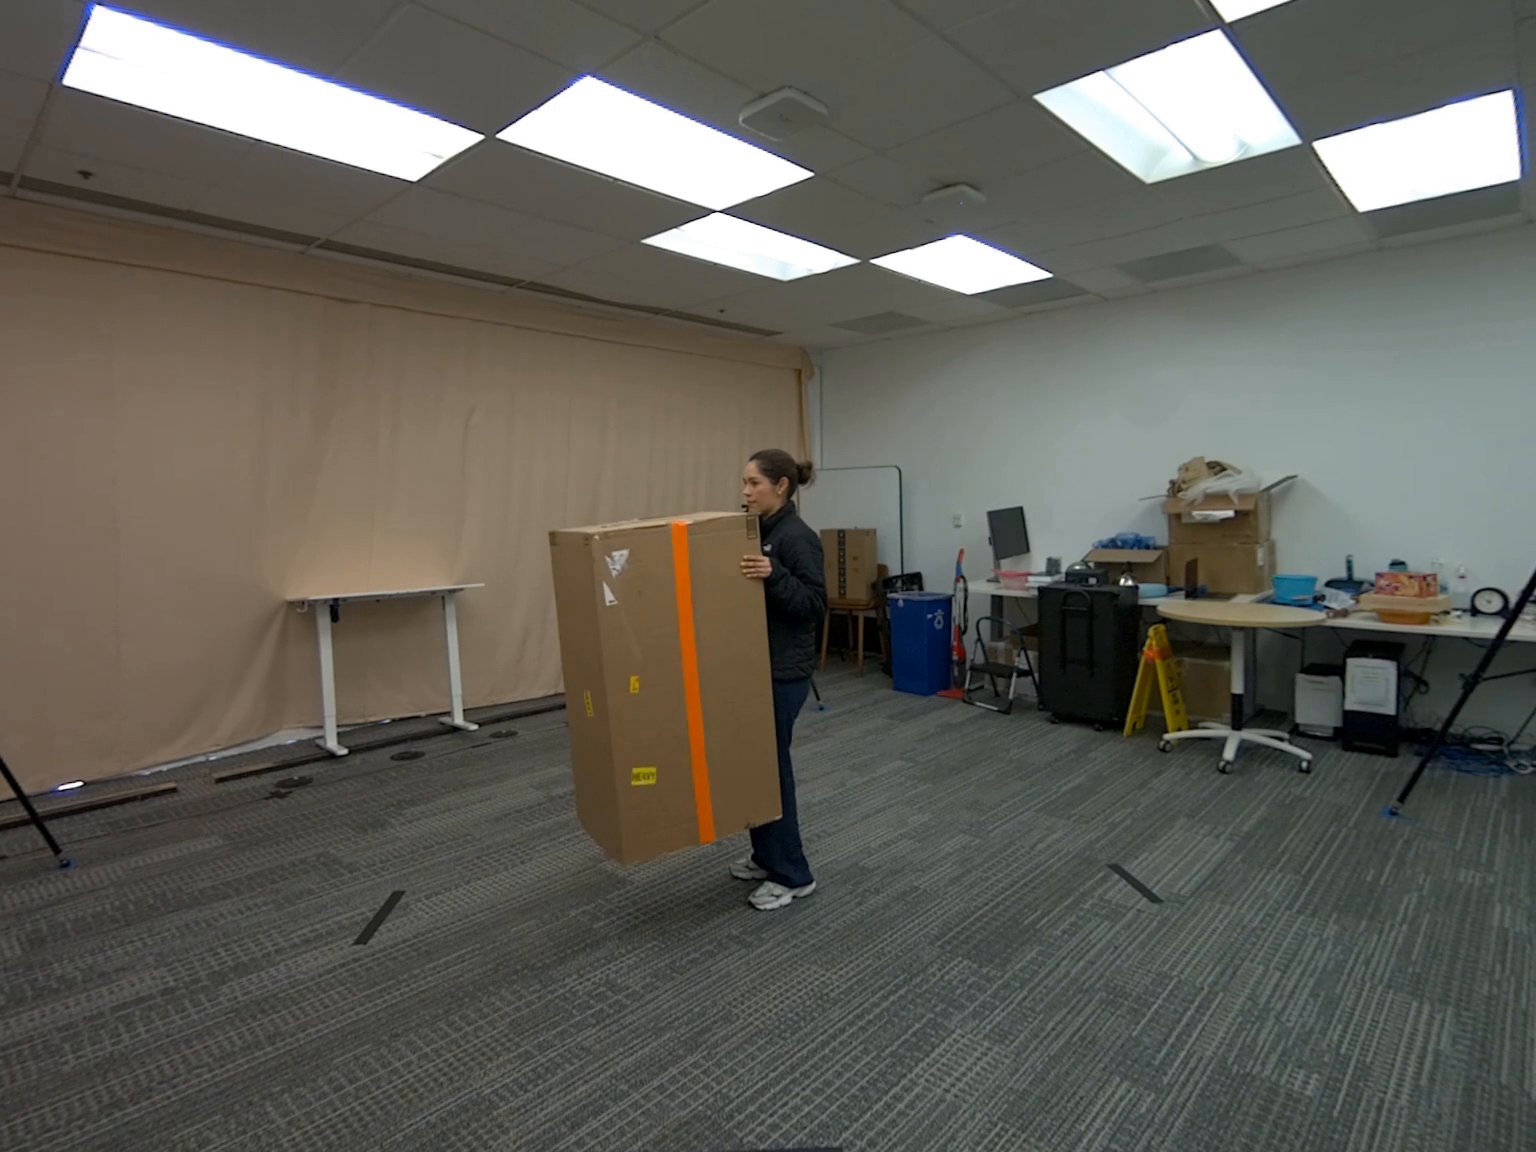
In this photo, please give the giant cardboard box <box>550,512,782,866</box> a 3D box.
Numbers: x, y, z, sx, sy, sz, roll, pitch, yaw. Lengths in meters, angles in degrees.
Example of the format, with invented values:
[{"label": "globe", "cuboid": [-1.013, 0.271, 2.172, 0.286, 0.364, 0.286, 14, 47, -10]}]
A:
[{"label": "giant cardboard box", "cuboid": [-0.332, 0.331, 2.808, 0.563, 1.022, 0.438, -8, 6, -29]}]
